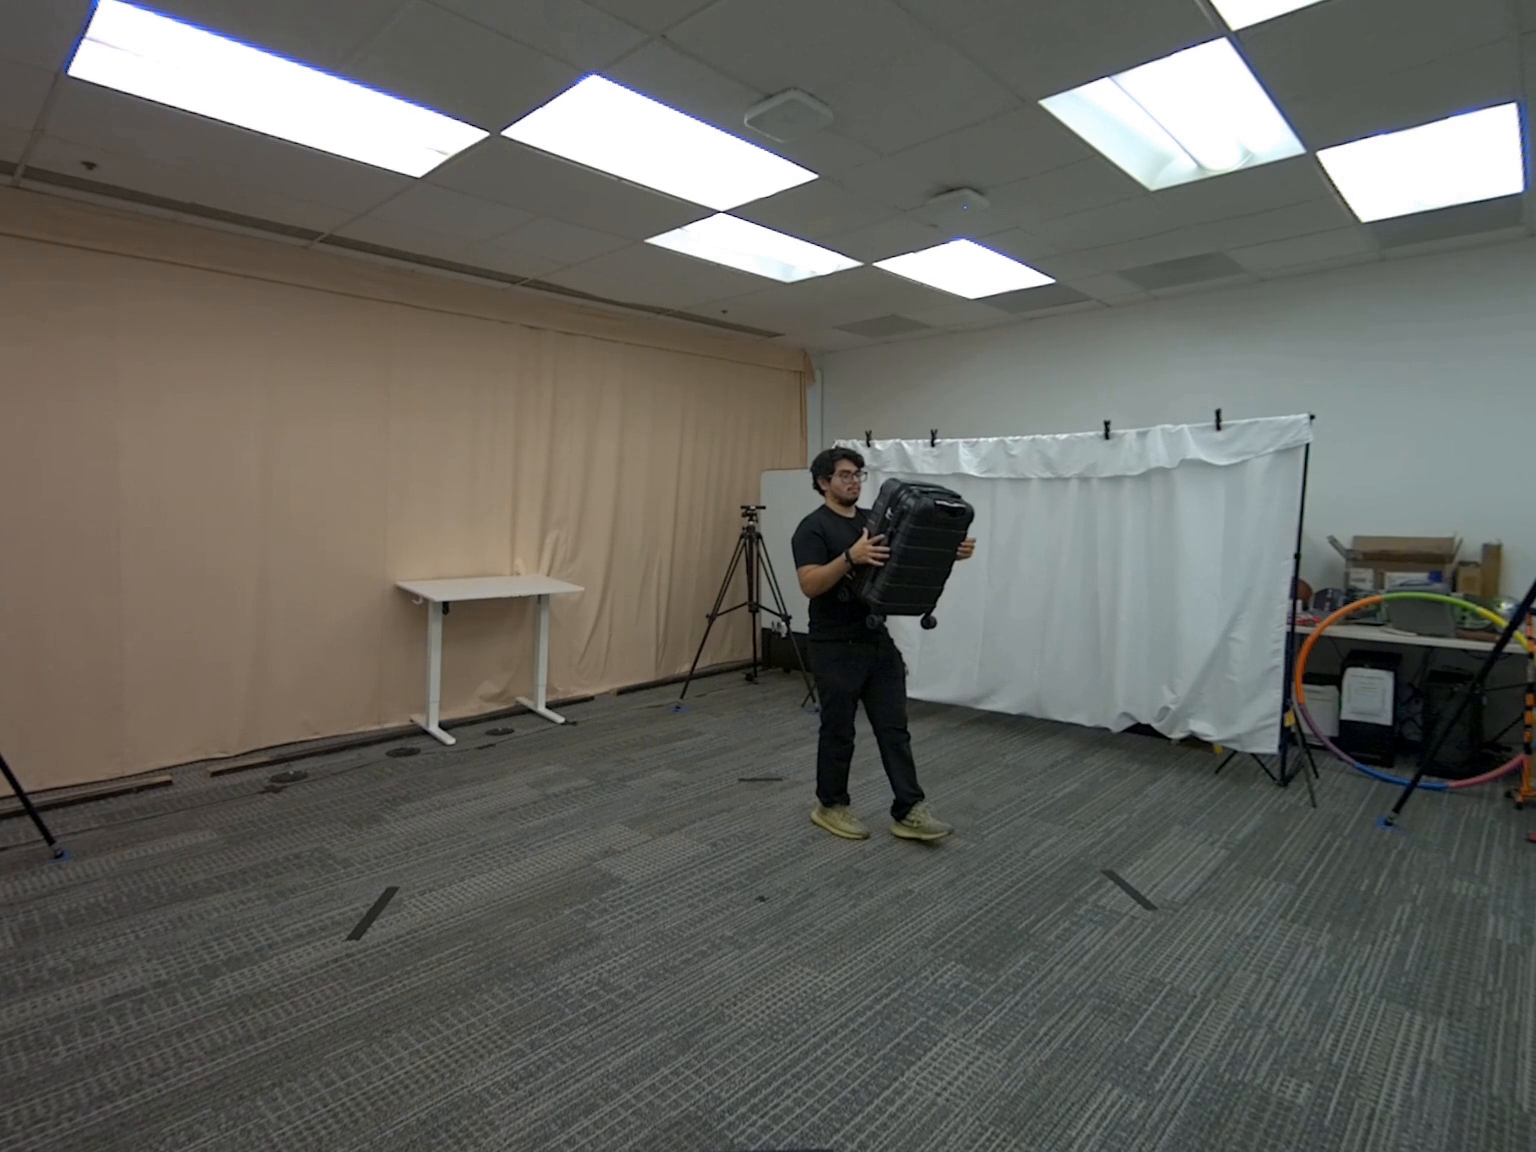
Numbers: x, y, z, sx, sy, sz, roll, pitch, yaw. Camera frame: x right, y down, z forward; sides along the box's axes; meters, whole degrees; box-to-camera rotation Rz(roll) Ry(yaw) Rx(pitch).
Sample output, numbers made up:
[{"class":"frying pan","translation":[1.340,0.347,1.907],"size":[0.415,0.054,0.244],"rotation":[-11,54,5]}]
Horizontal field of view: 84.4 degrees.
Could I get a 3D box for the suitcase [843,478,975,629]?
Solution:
[{"class":"suitcase","translation":[0.550,-0.099,3.285],"size":[0.364,0.546,0.257],"rotation":[4,25,-33]}]
